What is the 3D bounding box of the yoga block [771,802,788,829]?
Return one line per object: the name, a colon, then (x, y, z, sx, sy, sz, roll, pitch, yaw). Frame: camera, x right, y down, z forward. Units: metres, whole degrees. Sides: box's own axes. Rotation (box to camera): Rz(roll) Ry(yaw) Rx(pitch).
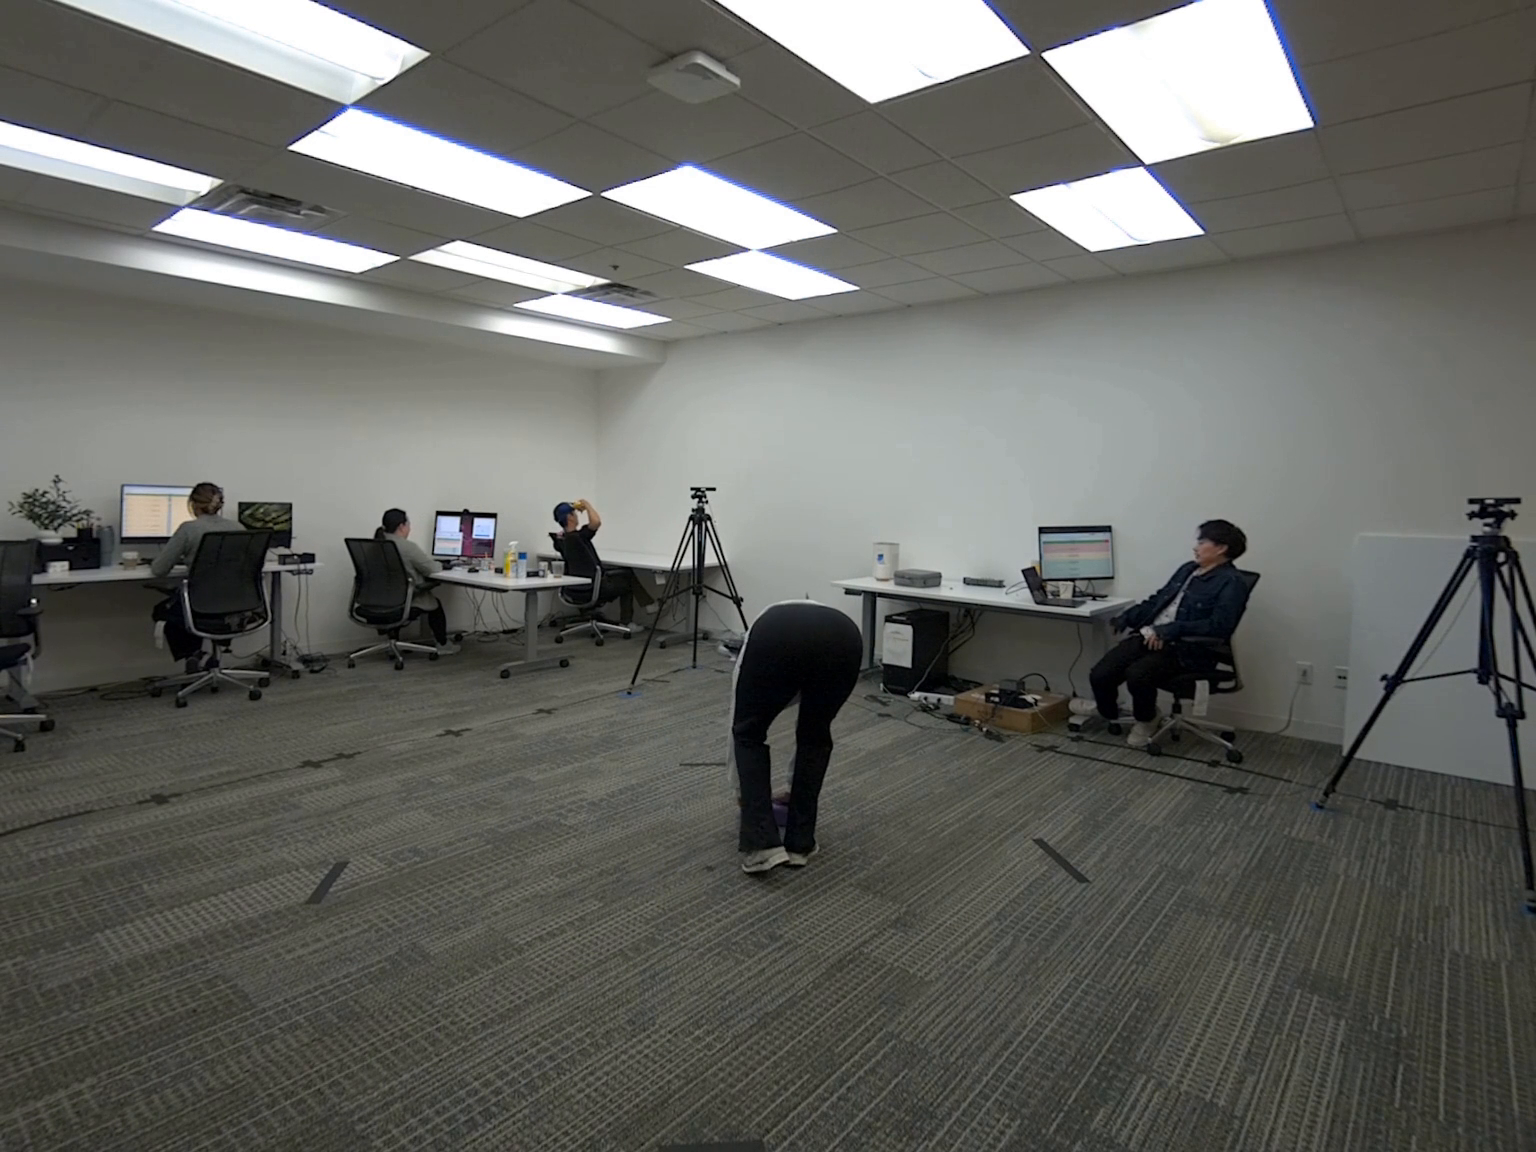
yoga block: (-0.004, 0.978, 3.573, 0.229, 0.076, 0.149, 0, -1, -2)
